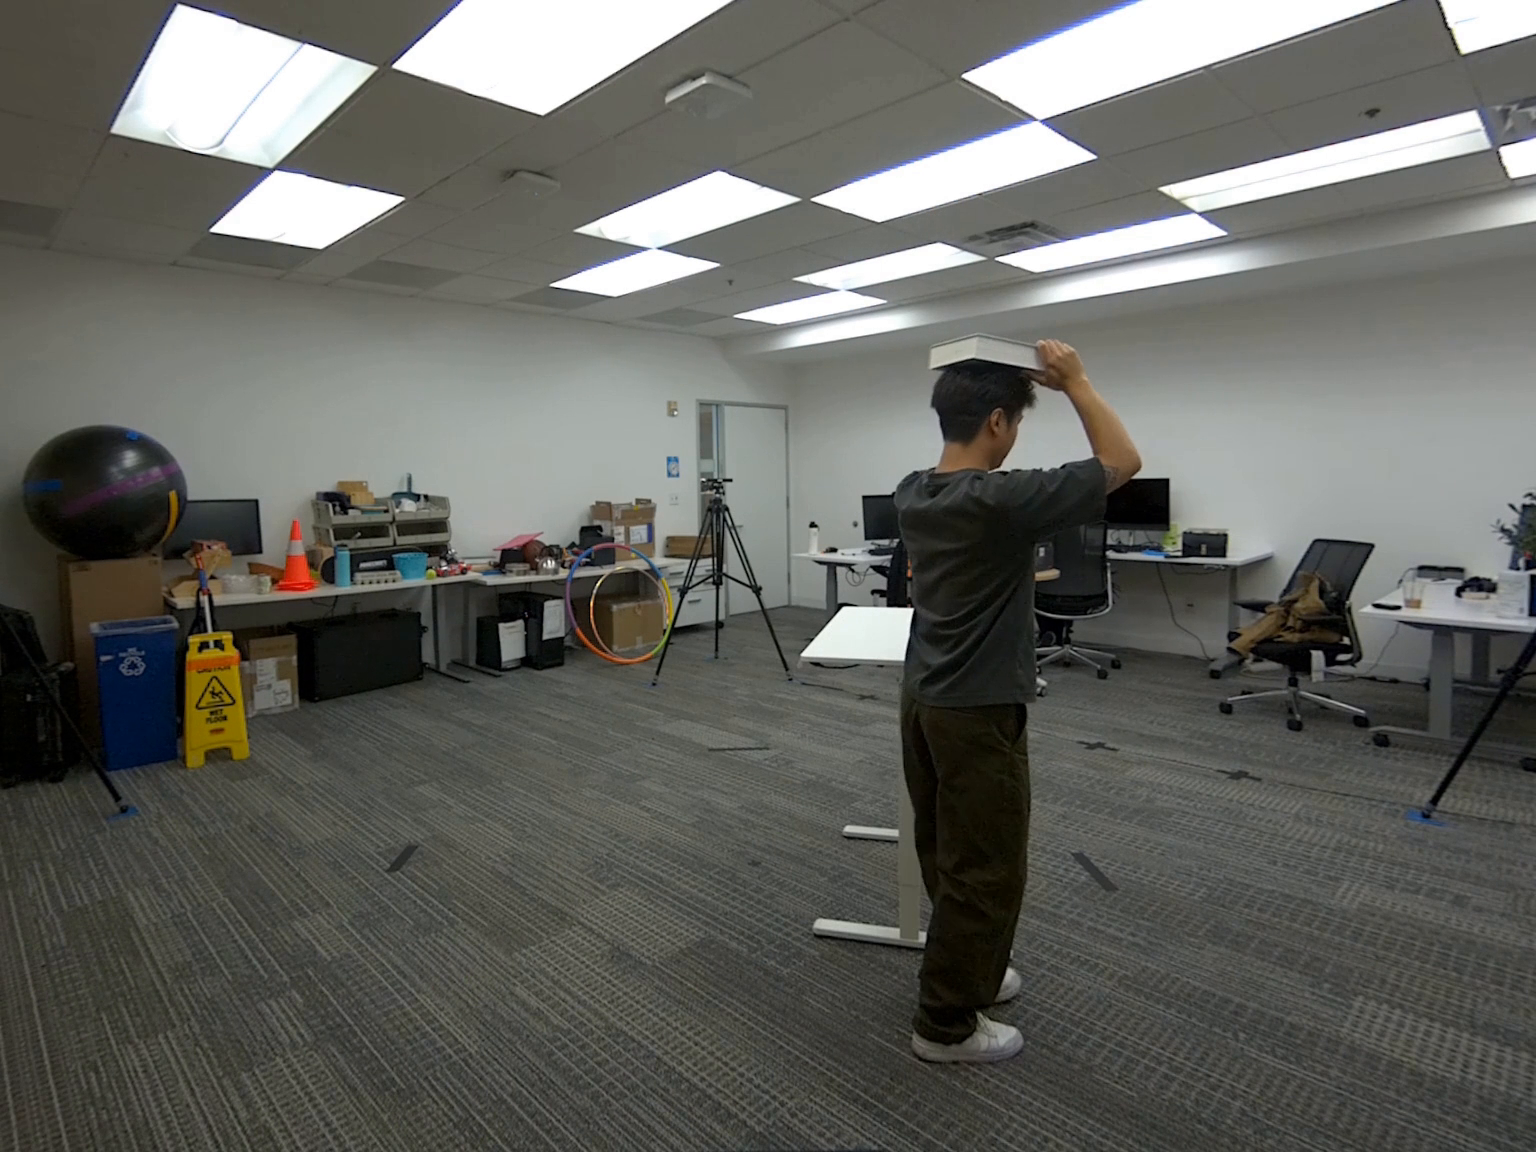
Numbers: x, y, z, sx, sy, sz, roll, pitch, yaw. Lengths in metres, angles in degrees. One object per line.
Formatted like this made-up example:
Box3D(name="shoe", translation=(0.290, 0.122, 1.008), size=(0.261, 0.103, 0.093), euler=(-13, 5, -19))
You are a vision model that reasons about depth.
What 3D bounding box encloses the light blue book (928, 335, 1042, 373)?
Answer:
Box3D(name="light blue book", translation=(0.558, -0.523, 2.057), size=(0.256, 0.059, 0.195), euler=(5, 2, -18))
